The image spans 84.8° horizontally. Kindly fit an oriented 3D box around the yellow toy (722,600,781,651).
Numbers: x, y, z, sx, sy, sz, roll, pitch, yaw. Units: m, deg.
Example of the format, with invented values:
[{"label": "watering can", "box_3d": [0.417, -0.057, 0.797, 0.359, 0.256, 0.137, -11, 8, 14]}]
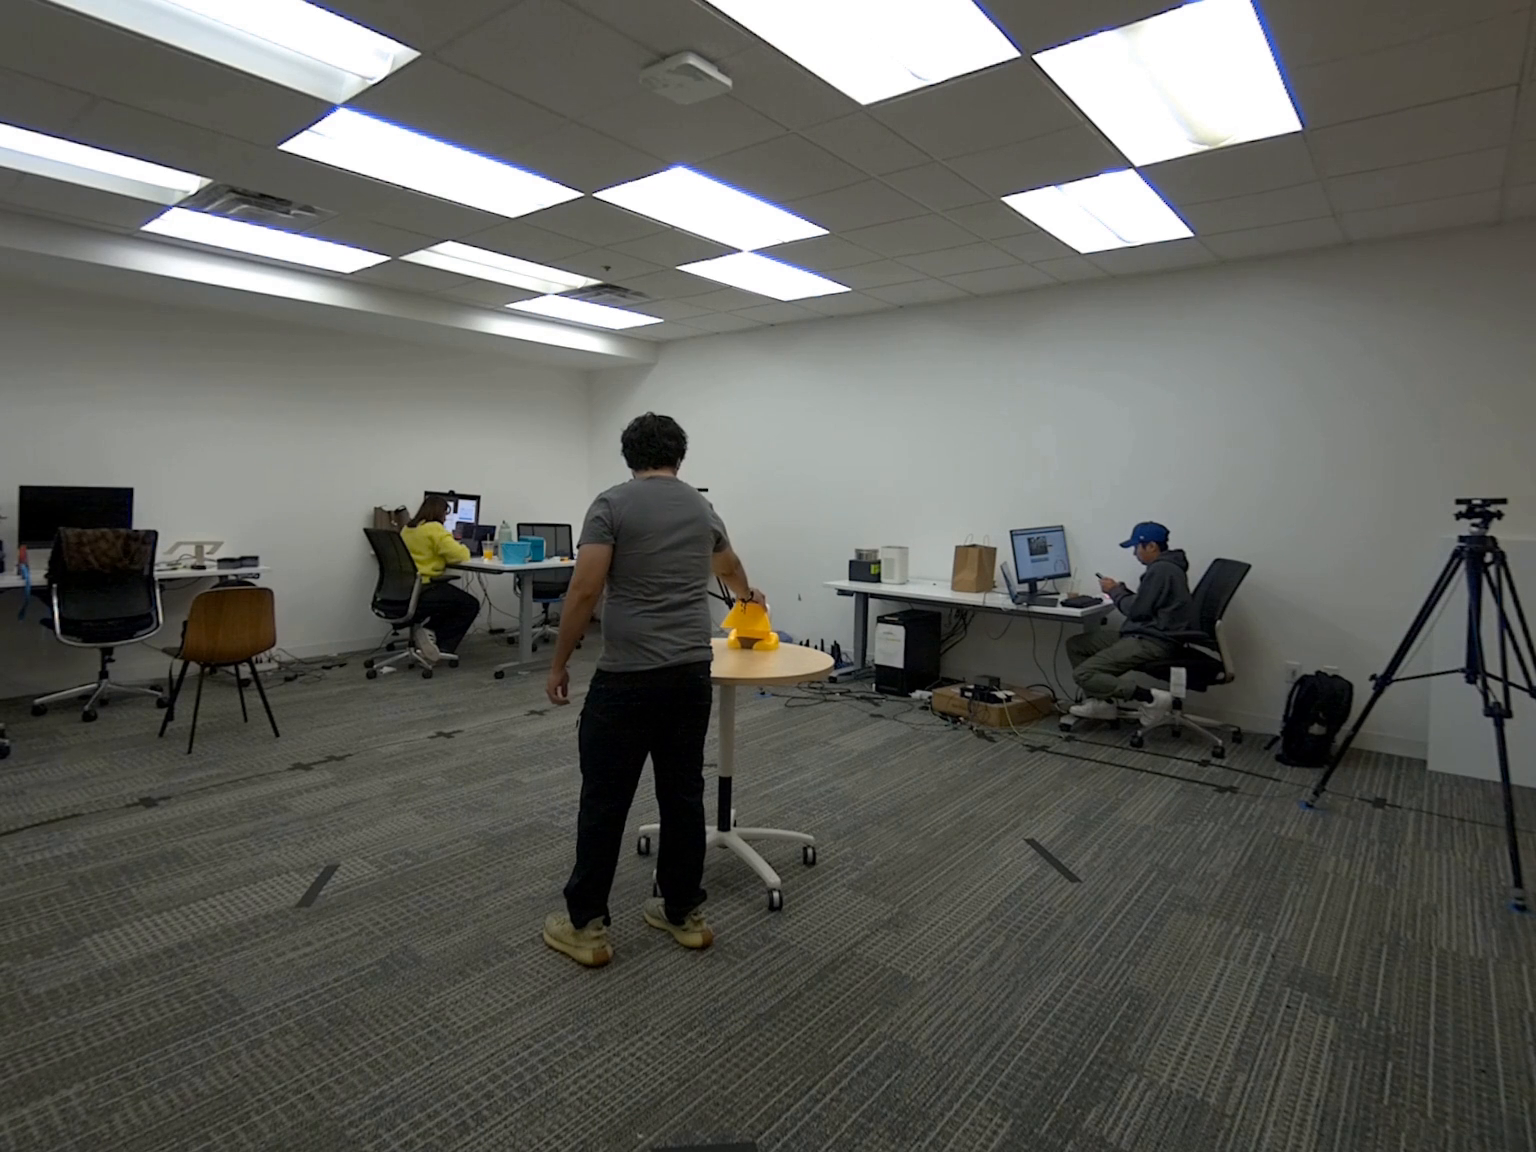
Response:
[{"label": "yellow toy", "box_3d": [-0.069, 0.156, 3.307, 0.209, 0.230, 0.189, 3, 4, 20]}]
